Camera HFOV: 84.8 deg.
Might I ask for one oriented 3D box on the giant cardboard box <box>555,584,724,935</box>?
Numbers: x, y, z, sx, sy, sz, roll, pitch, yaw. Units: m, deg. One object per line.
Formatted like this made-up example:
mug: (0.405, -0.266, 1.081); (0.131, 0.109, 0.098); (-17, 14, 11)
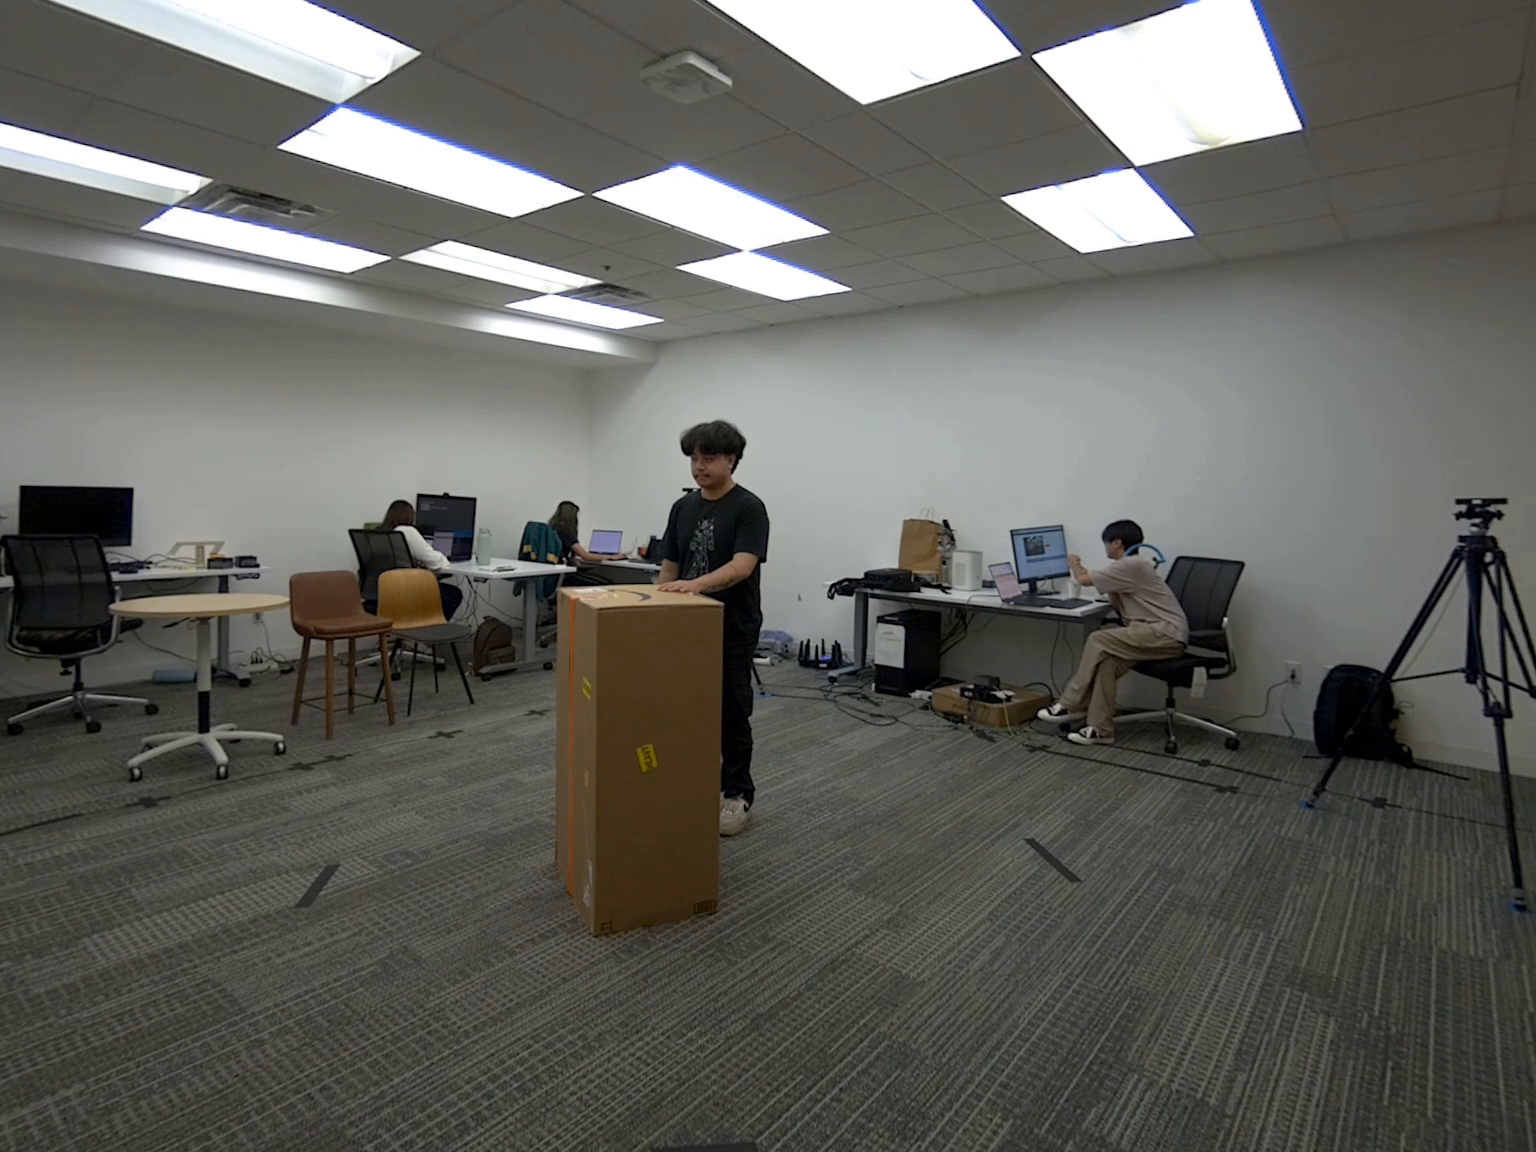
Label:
giant cardboard box: (-0.478, 0.569, 2.939); (0.436, 1.024, 0.599); (-1, 4, -25)
